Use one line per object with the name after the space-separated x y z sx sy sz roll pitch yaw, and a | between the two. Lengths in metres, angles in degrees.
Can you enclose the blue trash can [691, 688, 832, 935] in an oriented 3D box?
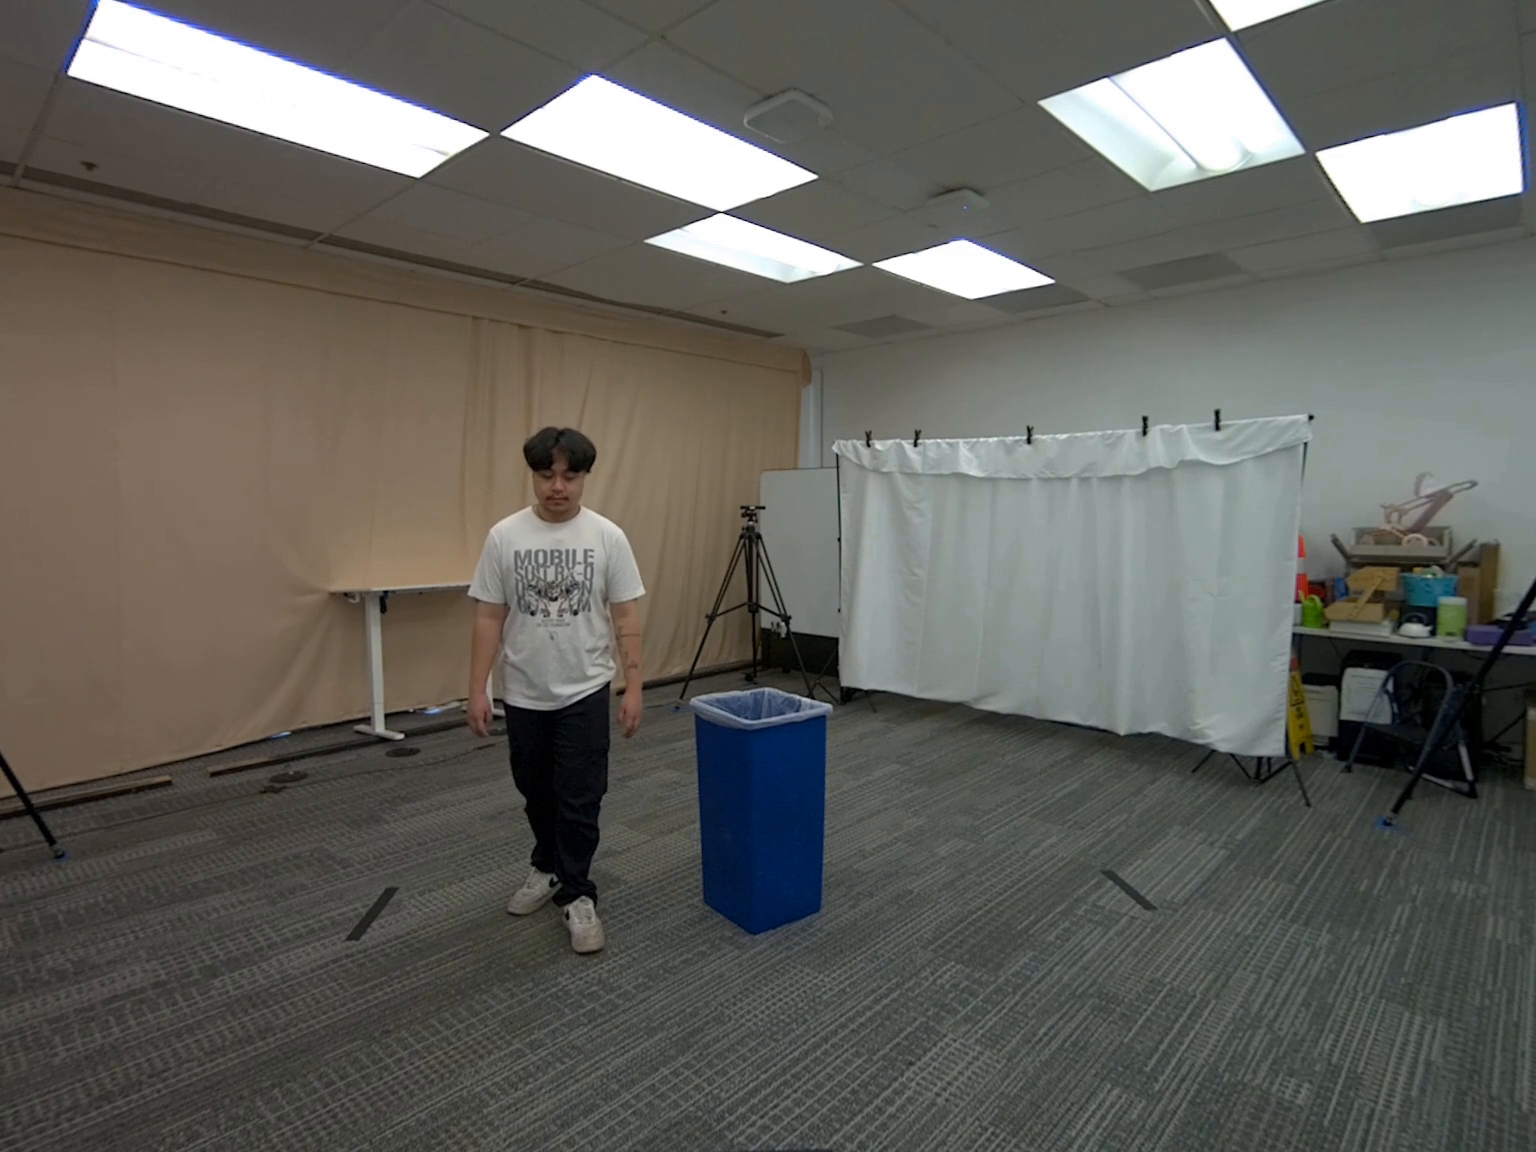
-0.025 0.793 2.904 0.363 0.712 0.390 -2 4 -37 | blue trash can
